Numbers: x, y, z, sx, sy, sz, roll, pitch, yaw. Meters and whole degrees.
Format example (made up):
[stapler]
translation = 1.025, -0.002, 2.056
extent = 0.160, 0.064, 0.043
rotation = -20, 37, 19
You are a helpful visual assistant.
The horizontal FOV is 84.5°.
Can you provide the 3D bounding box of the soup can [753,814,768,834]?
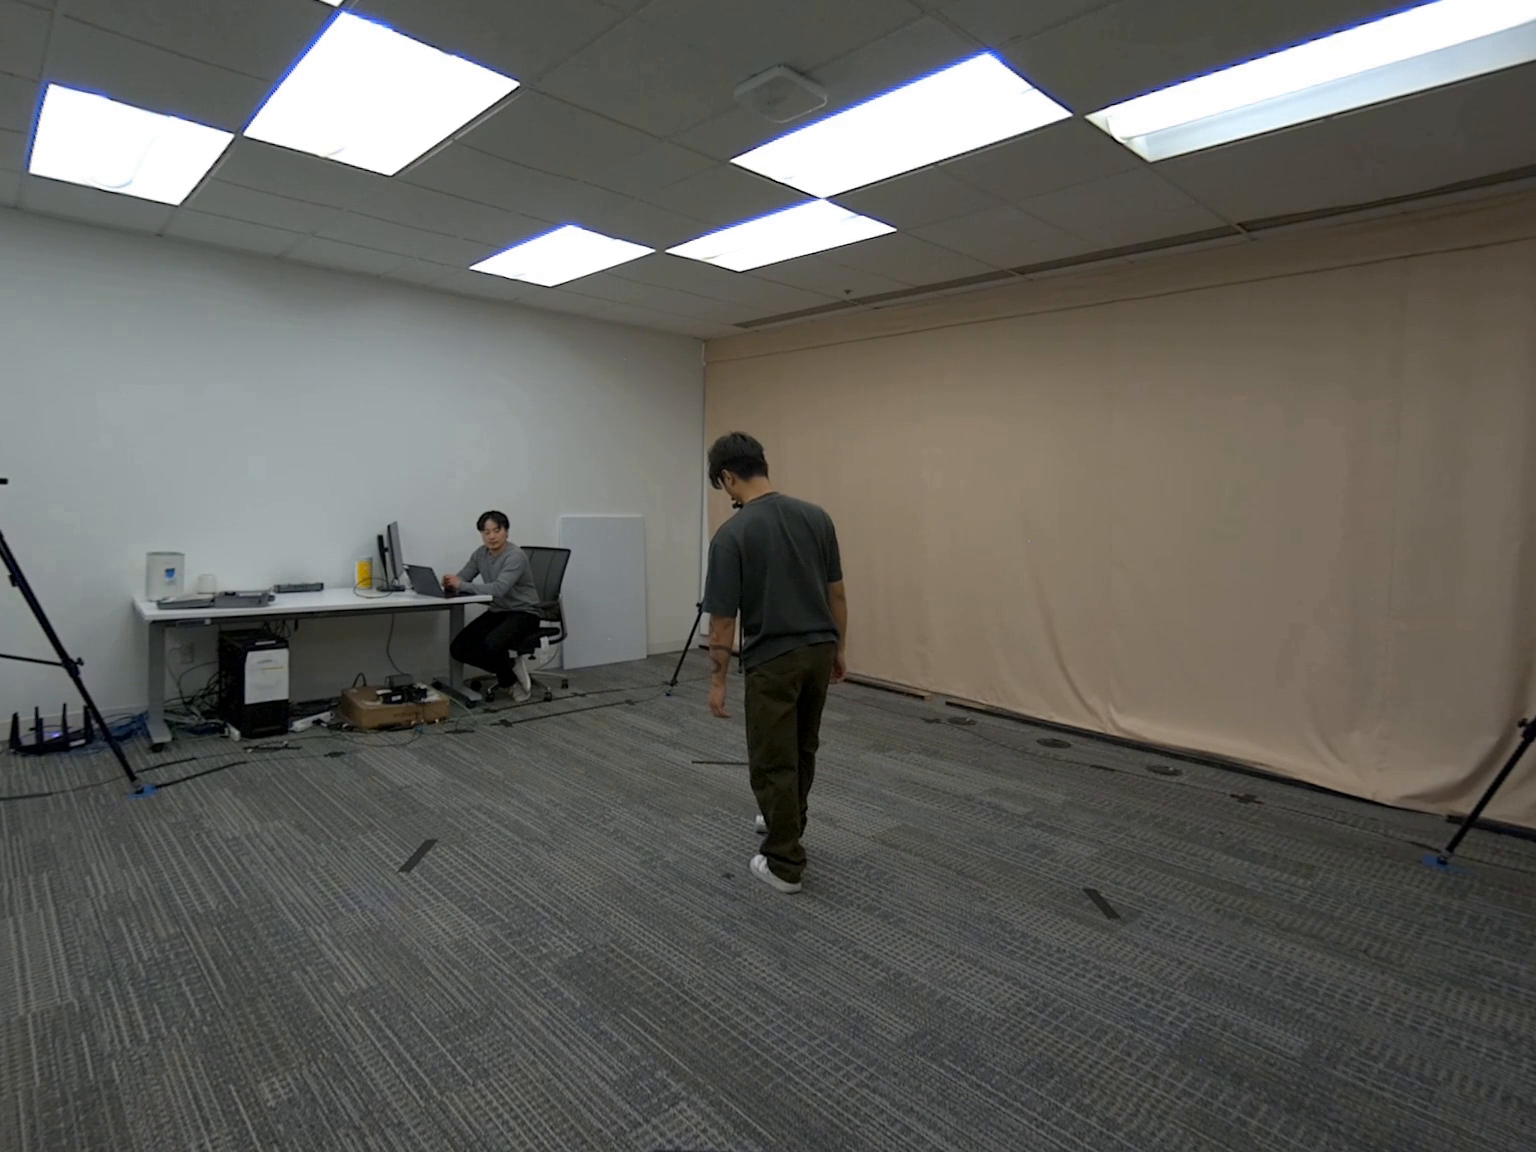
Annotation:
[soup can]
translation = 0.006, 1.037, 3.518
extent = 0.122, 0.067, 0.067
rotation = 7, 5, 6
